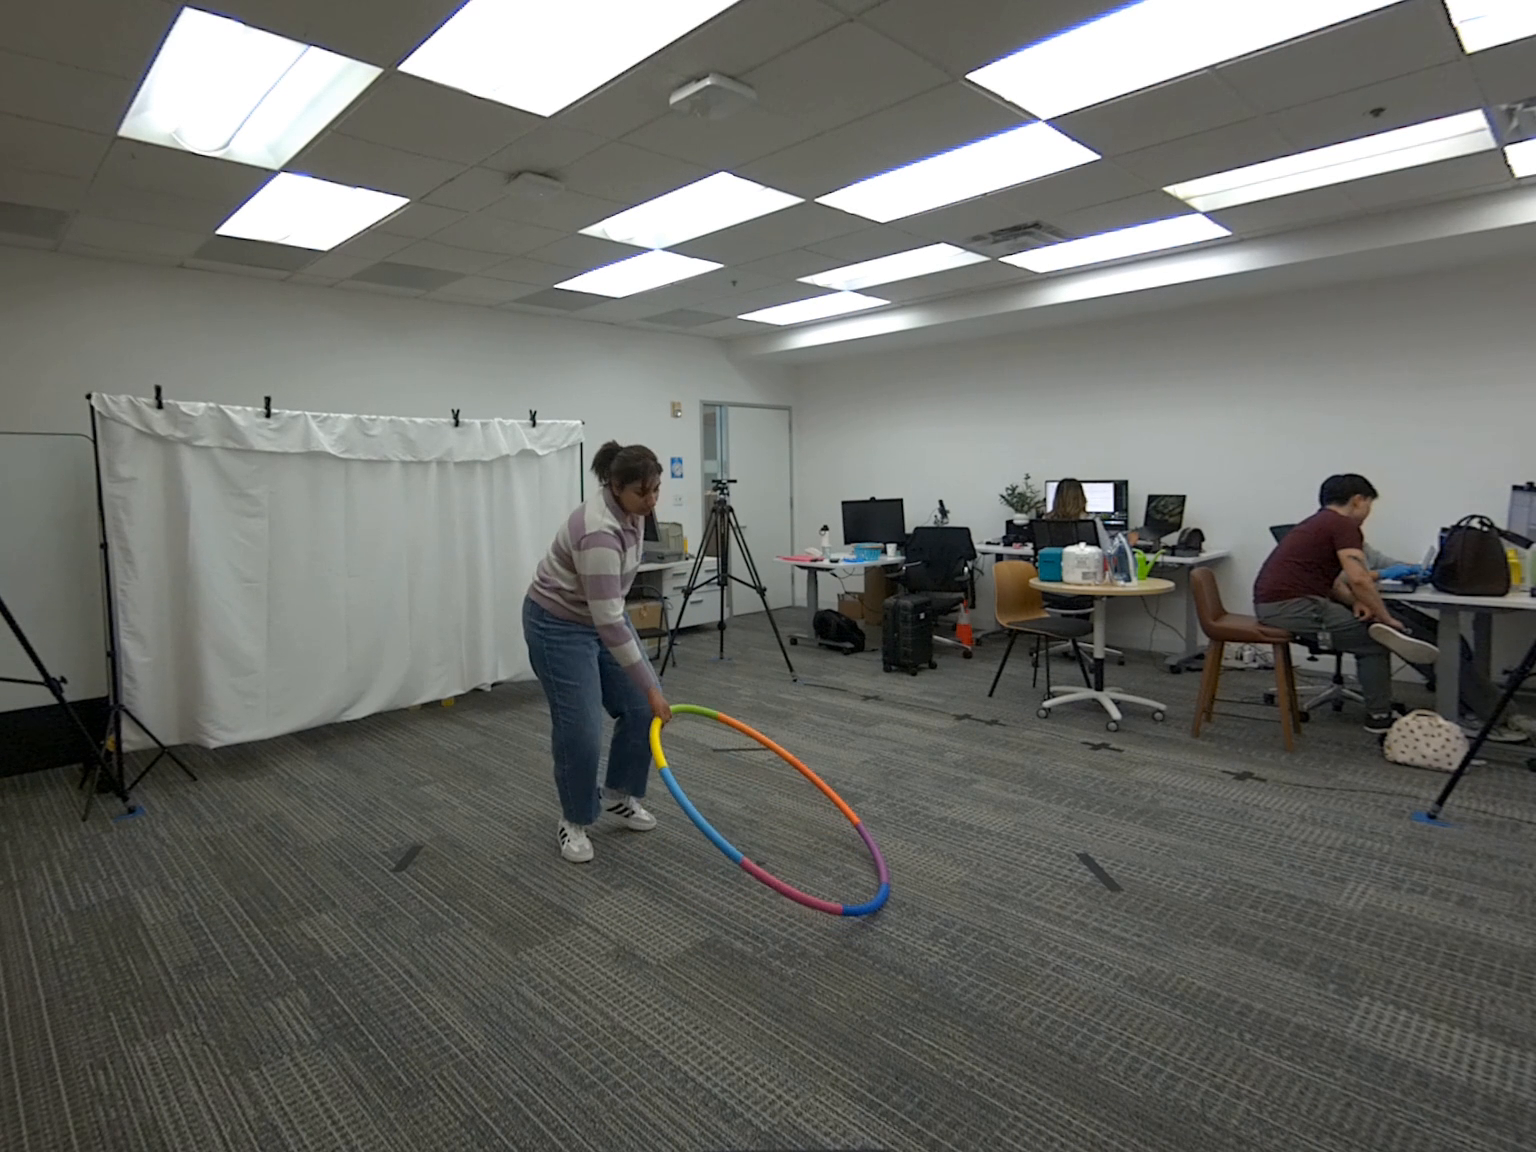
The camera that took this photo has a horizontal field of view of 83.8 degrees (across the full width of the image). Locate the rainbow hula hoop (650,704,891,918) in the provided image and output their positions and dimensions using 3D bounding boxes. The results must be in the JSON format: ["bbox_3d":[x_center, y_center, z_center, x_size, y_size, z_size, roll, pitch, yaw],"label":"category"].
[{"bbox_3d":[0.012,0.770,2.962,0.969,0.035,0.991,32,10,-8],"label":"rainbow hula hoop"}]
